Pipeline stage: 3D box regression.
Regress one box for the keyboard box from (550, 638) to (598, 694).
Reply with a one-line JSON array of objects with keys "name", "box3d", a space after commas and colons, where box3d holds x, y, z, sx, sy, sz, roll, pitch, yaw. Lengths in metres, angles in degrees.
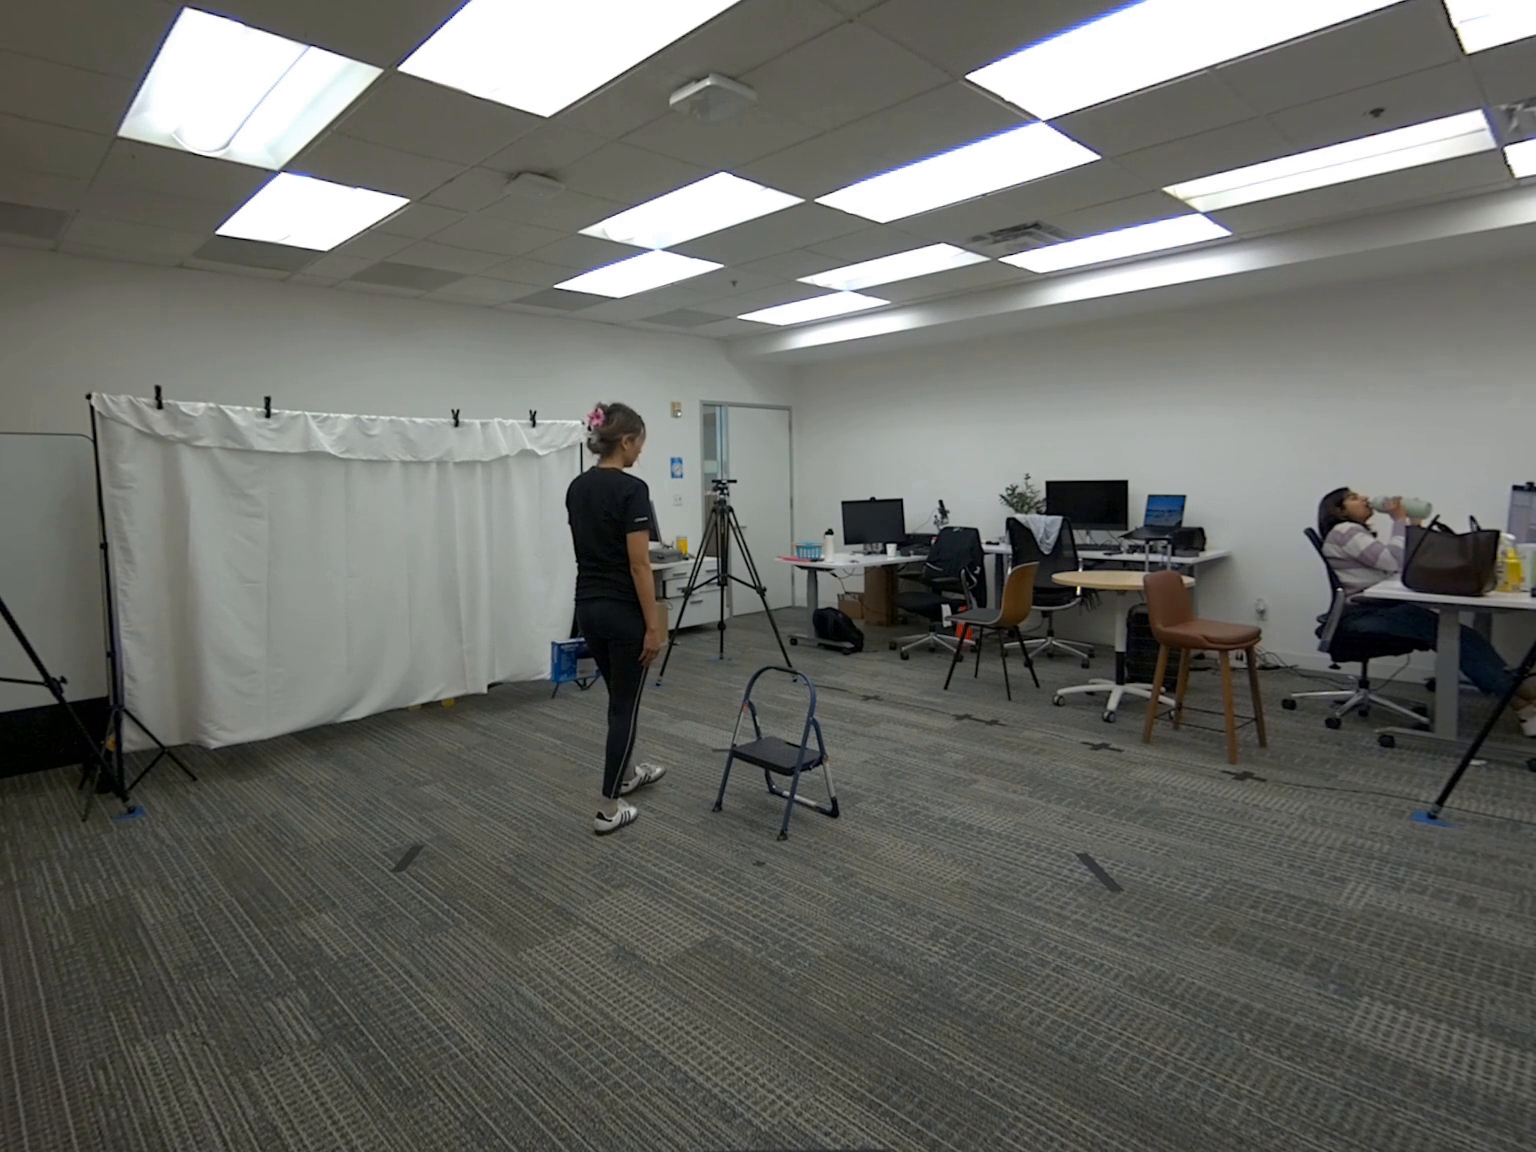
[{"name": "keyboard box", "box3d": [-0.757, 0.360, 3.784, 0.061, 0.175, 0.425, 5, 5, 43]}]
